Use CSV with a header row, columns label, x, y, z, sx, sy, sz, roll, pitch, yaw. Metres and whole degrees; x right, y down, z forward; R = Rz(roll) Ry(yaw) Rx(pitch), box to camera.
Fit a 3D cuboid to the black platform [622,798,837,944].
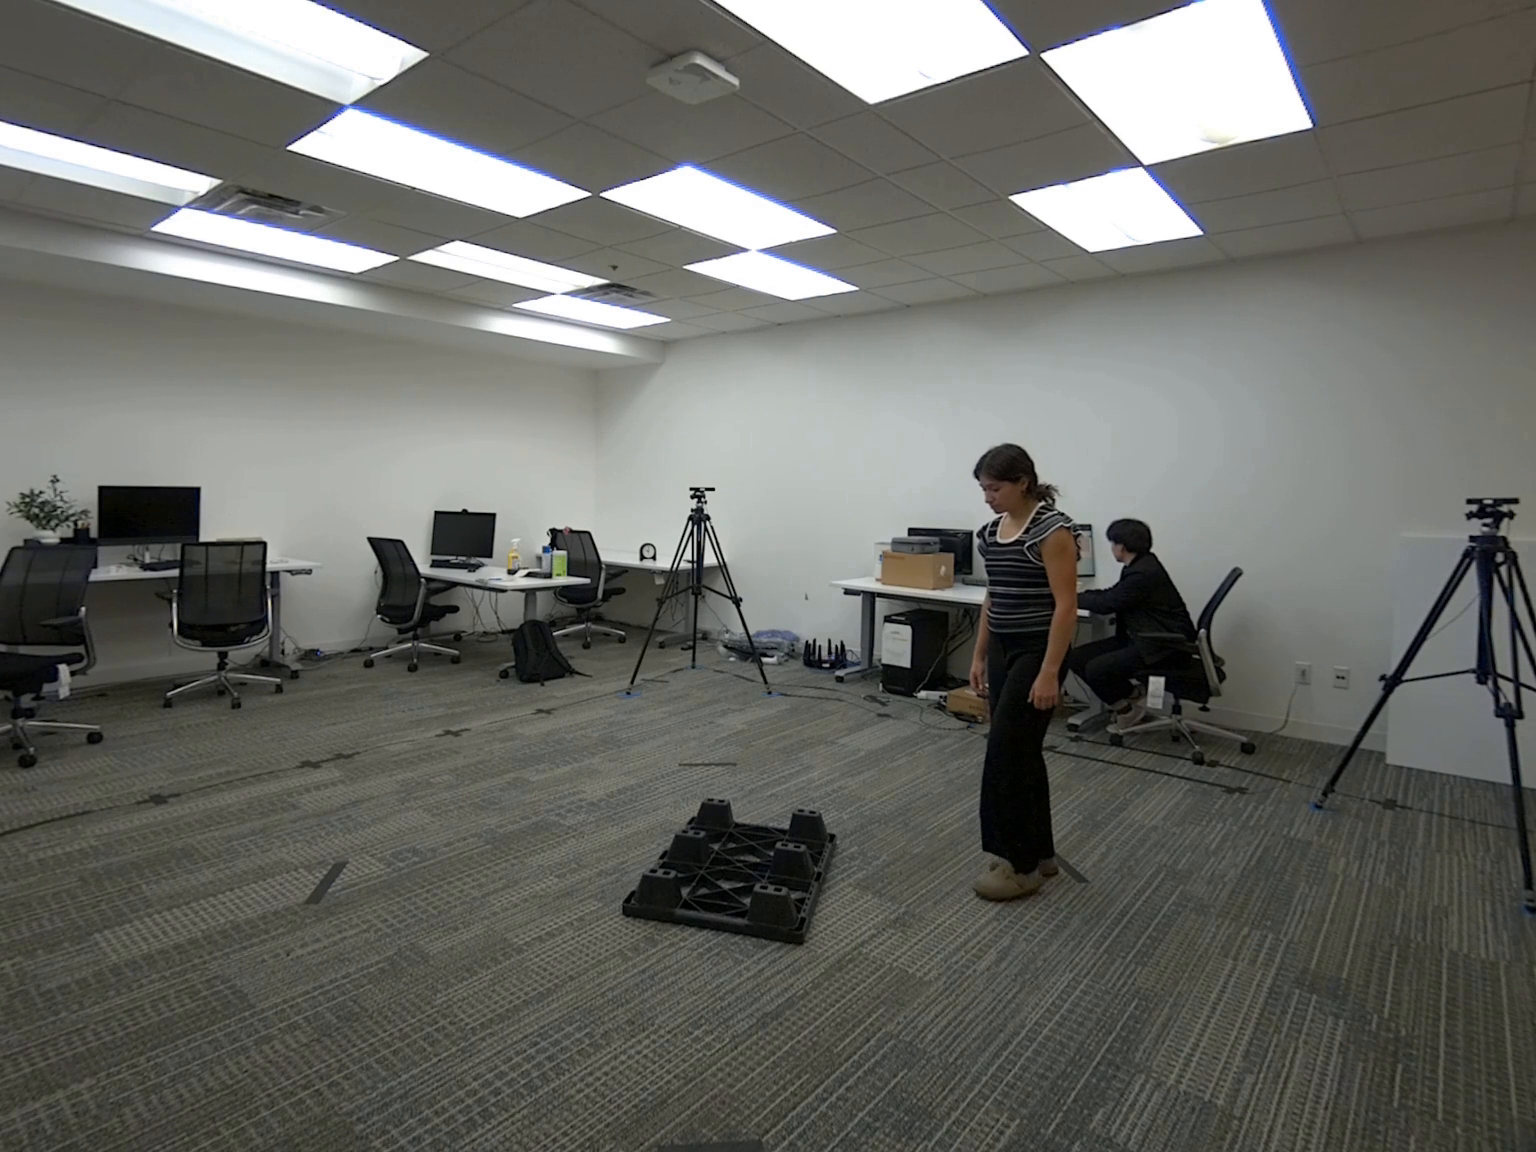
label,x,y,z,sx,sy,sz,roll,pitch,yaw
black platform,-0.106,1.007,3.049,0.614,0.143,0.797,2,6,13
